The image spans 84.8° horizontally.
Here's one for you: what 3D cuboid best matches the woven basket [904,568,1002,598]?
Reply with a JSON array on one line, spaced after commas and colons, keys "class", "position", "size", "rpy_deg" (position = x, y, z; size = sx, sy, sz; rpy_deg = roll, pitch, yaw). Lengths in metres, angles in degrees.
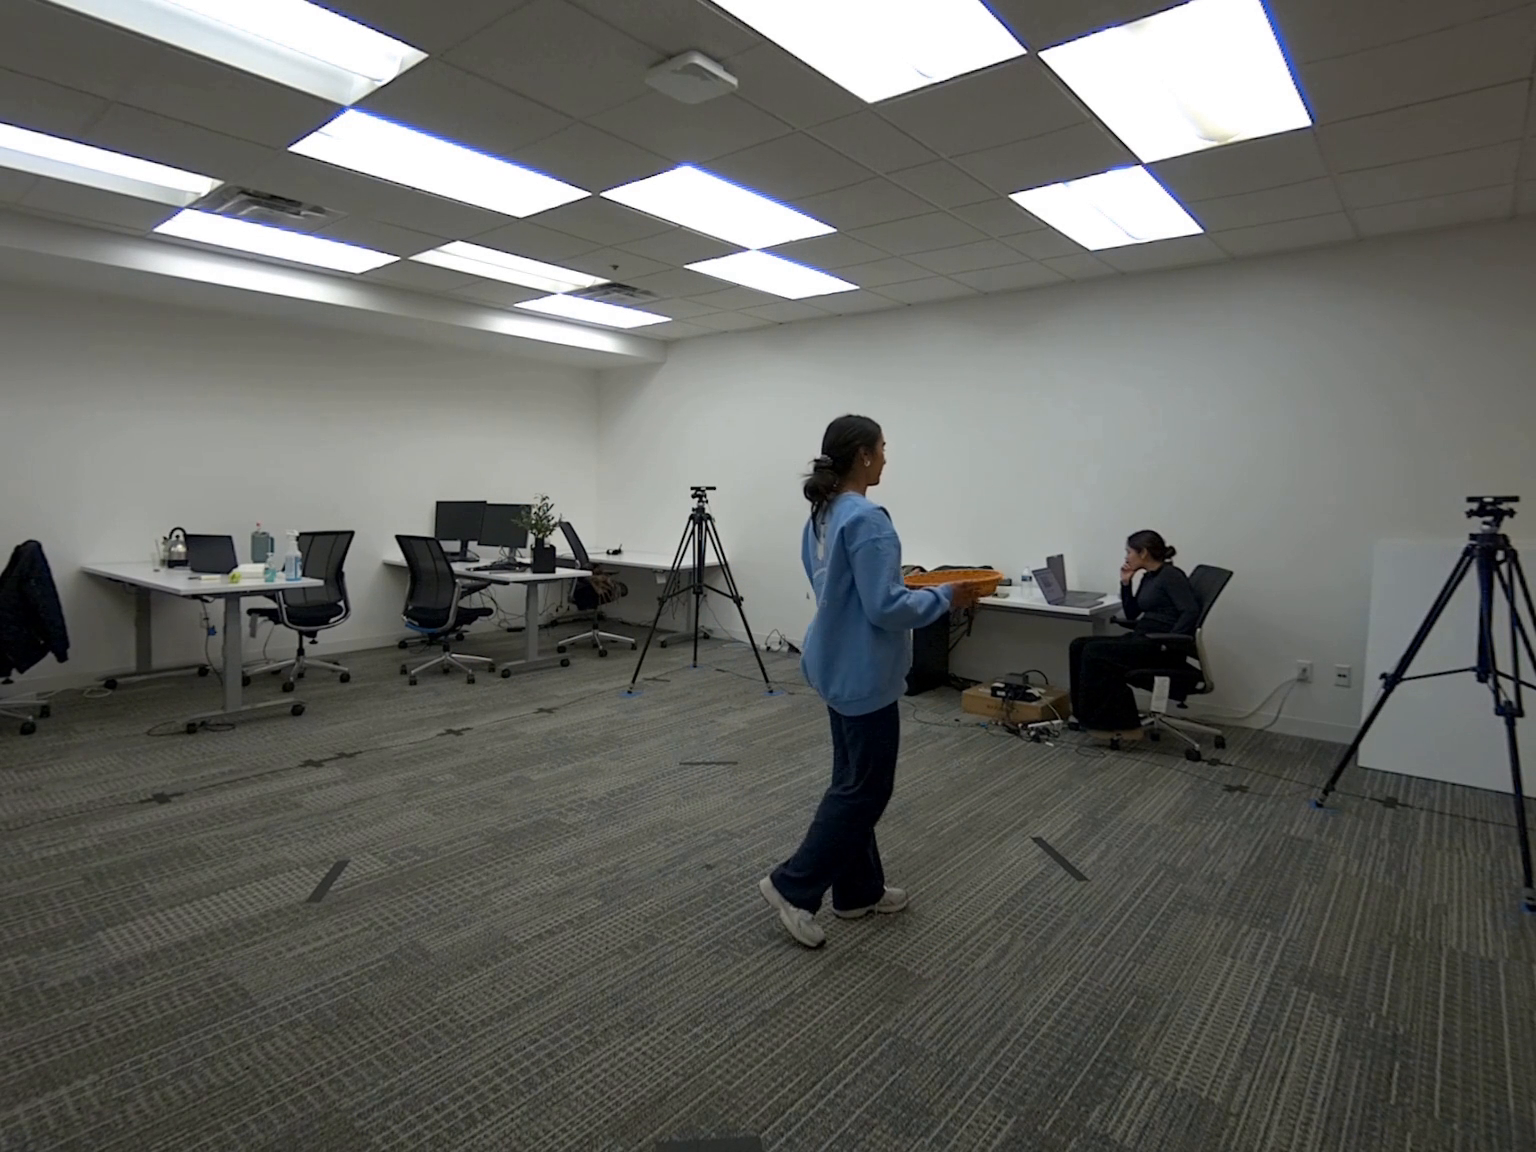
[{"class": "woven basket", "position": [0.576, 0.047, 2.763], "size": [0.351, 0.073, 0.253], "rpy_deg": [-5, 8, 2]}]
